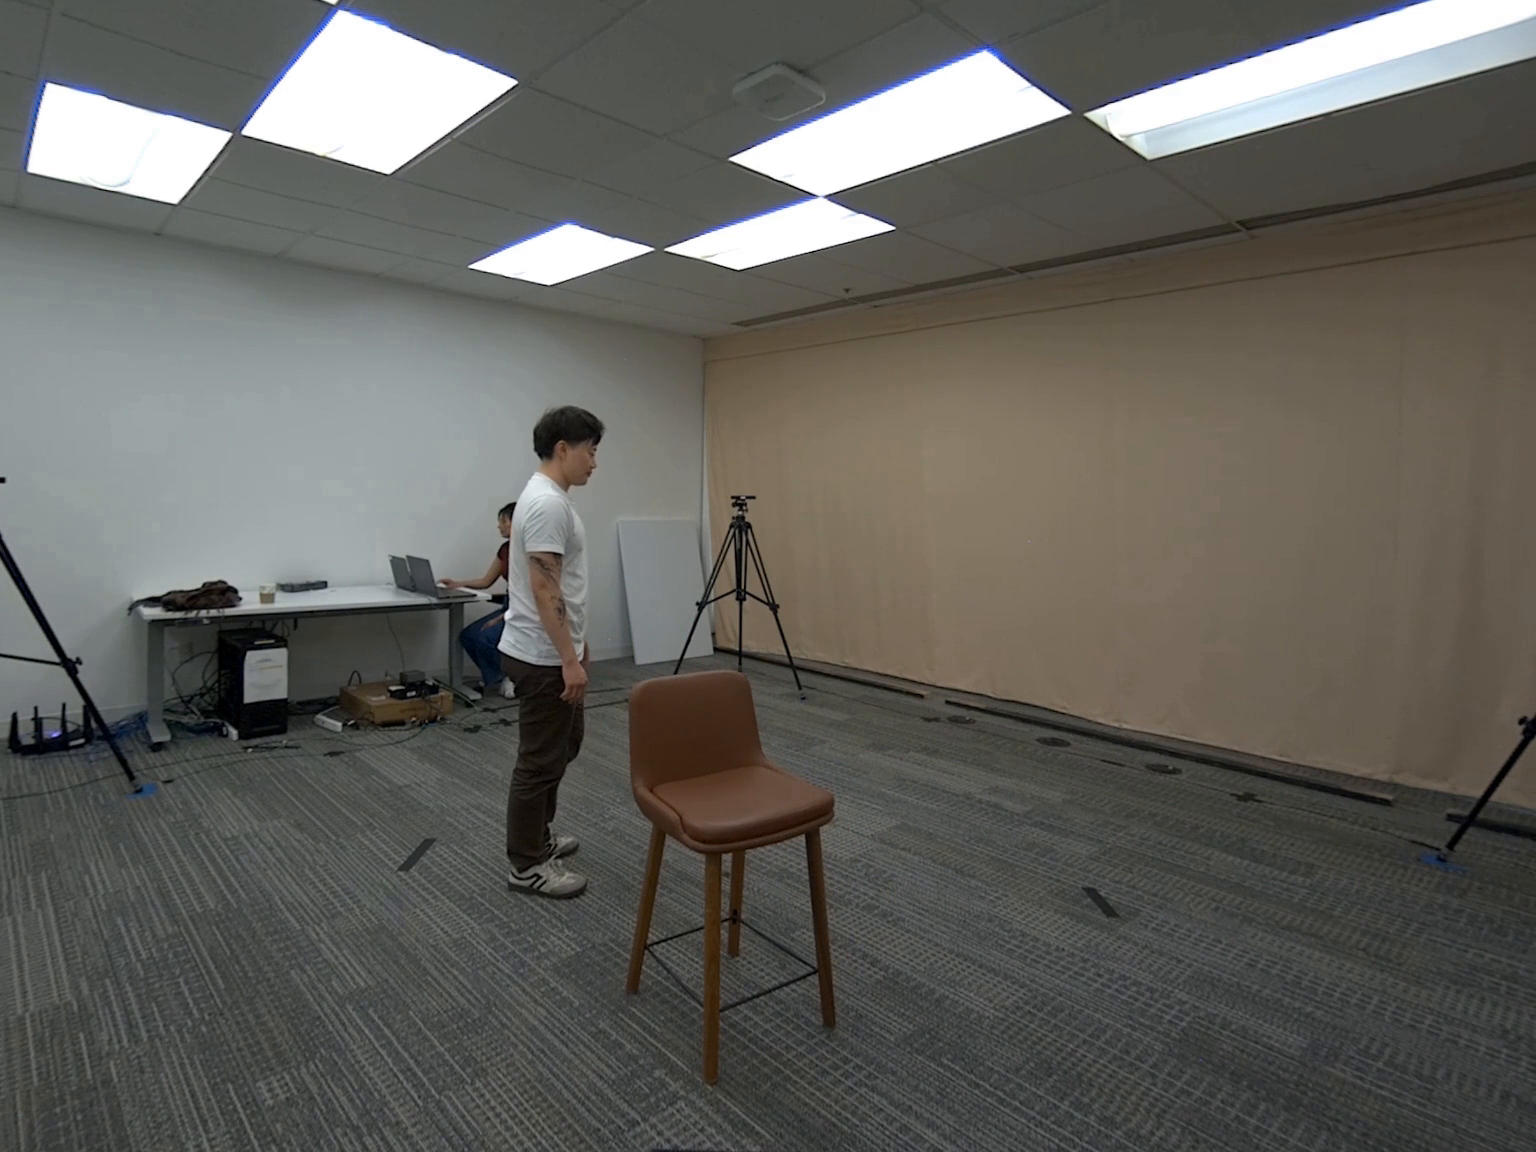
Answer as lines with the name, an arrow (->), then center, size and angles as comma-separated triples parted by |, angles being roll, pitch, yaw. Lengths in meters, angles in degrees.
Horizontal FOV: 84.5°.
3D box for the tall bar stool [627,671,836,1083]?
tall bar stool -> -0.113, 0.747, 2.265 | 0.446, 0.888, 0.479 | -2, 3, -36
